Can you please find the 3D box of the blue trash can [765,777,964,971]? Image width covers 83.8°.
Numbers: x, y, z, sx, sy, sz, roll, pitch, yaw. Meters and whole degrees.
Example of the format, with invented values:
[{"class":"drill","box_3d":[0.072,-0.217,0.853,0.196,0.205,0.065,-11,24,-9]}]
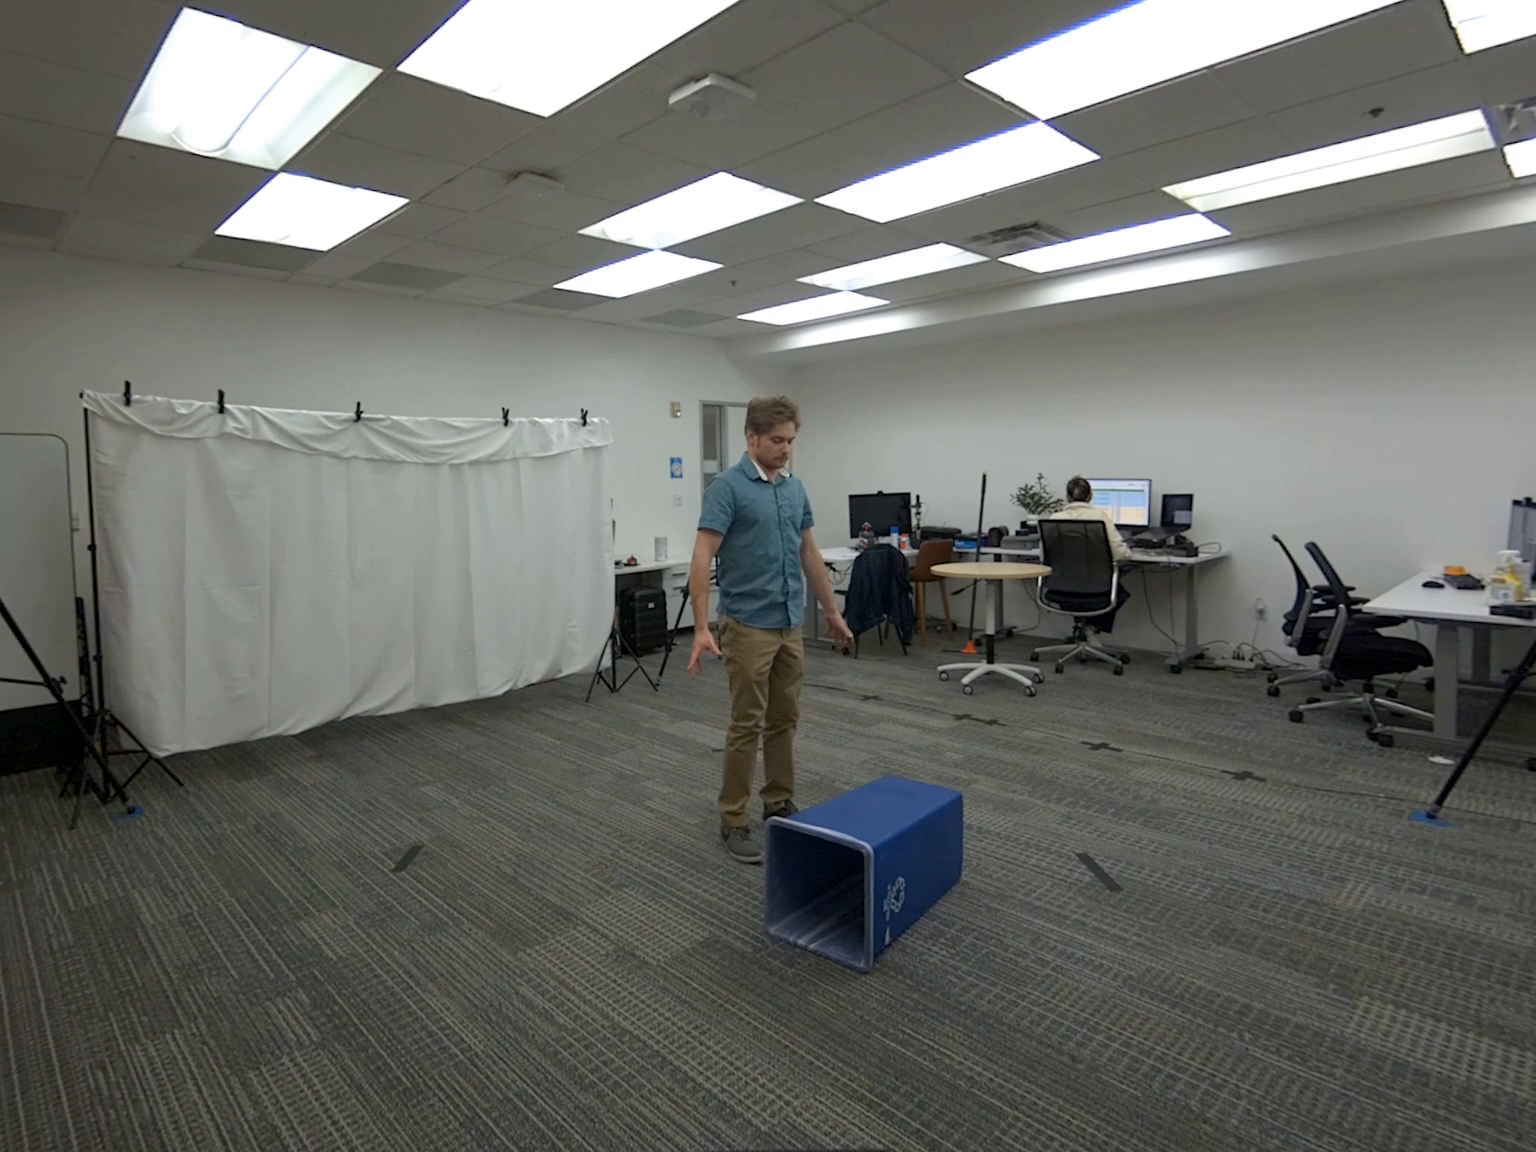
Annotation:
[{"class":"blue trash can","box_3d":[0.342,0.914,2.783,0.385,0.377,0.694,2,3,37]}]
